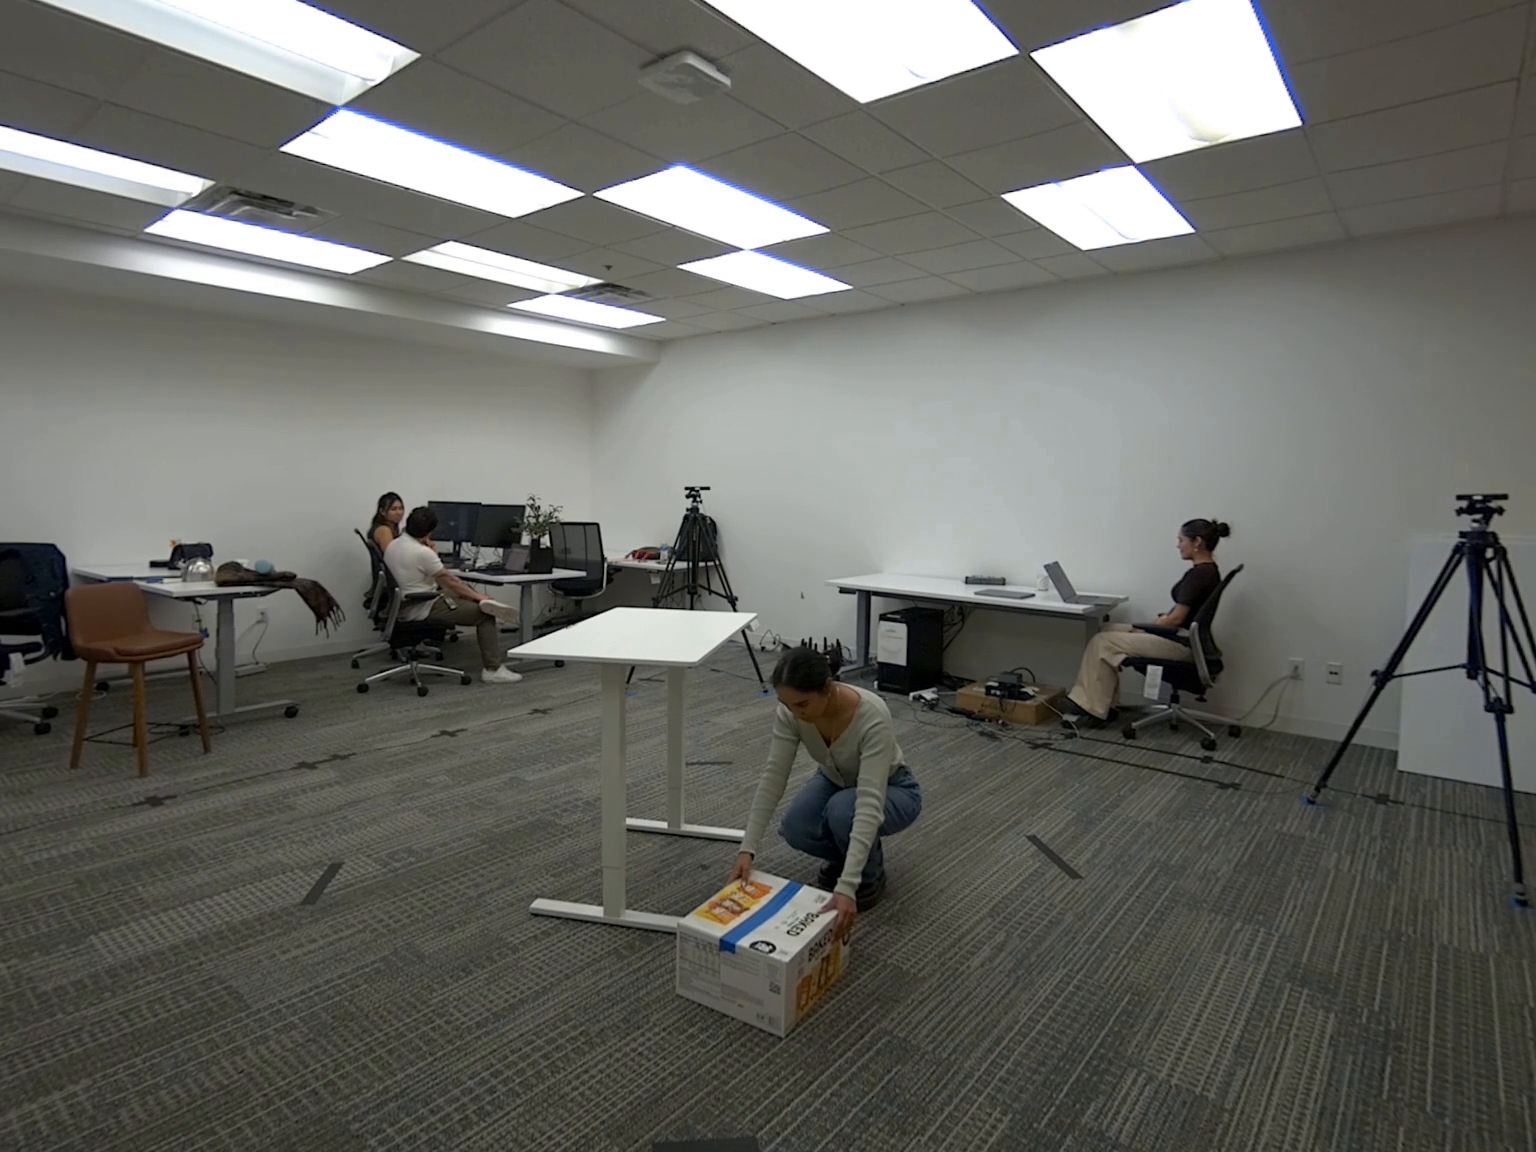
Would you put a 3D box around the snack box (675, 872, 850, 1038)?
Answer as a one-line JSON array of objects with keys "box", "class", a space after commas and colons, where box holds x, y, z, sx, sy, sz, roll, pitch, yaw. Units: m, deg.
[{"box": [-0.009, 1.040, 2.400, 0.350, 0.205, 0.395, 4, 6, 31], "class": "snack box"}]
